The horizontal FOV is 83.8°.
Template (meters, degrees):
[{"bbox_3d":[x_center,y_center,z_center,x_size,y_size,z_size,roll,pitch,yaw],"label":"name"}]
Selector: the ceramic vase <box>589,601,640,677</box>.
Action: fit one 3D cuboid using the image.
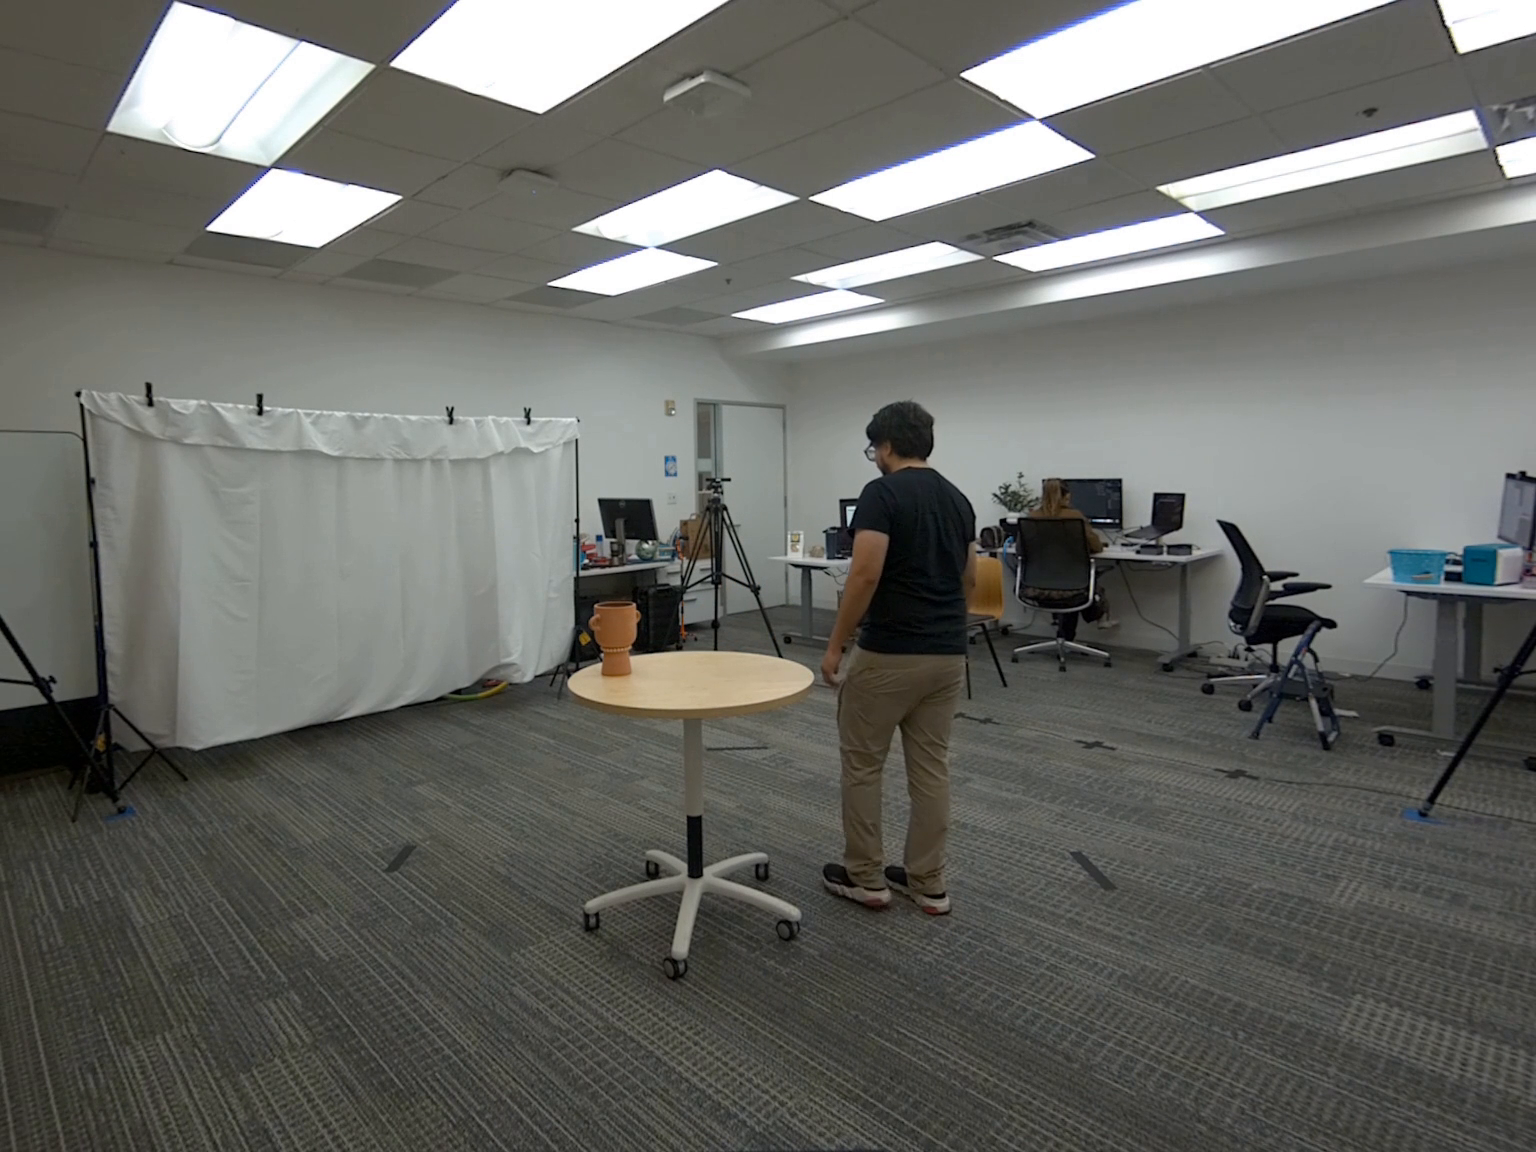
[{"bbox_3d":[-0.476,0.200,2.726,0.158,0.219,0.136,-1,6,-8],"label":"ceramic vase"}]
